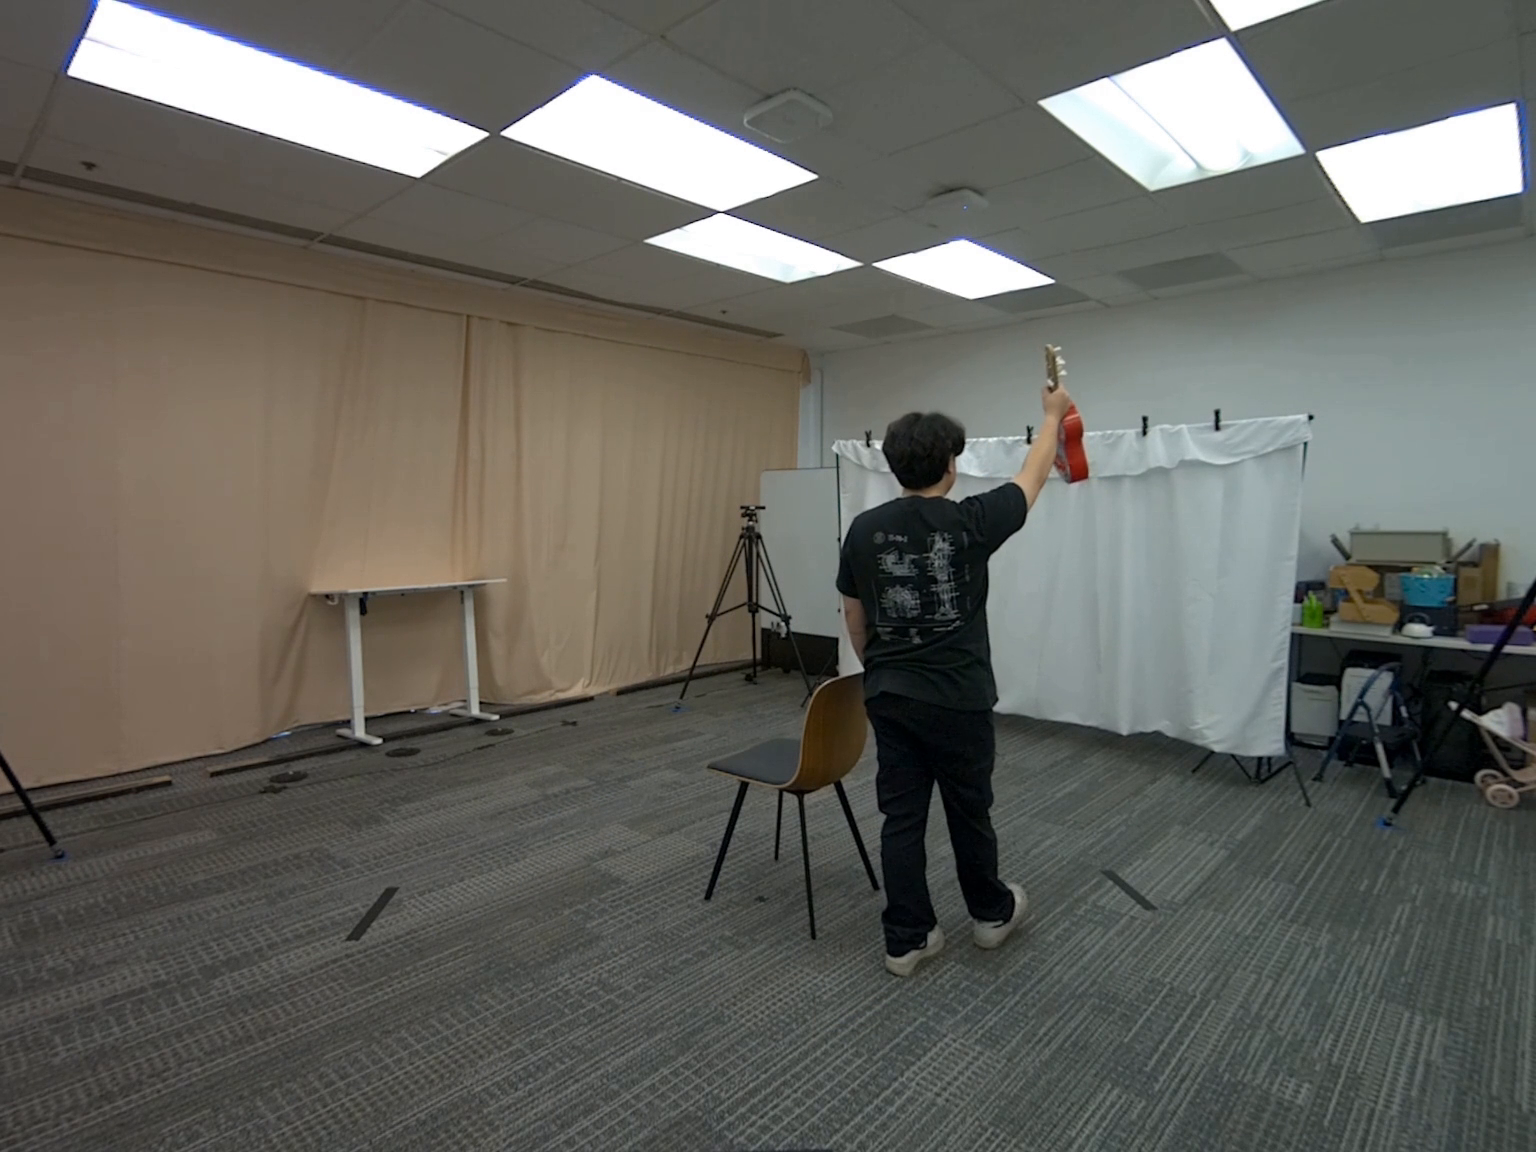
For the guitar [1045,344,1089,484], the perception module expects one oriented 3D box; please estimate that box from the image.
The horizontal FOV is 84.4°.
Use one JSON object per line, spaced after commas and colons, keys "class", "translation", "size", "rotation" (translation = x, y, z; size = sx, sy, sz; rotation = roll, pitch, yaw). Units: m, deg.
{"class": "guitar", "translation": [0.963, -0.504, 2.712], "size": [0.071, 0.483, 0.197], "rotation": [-16, 45, 6]}
